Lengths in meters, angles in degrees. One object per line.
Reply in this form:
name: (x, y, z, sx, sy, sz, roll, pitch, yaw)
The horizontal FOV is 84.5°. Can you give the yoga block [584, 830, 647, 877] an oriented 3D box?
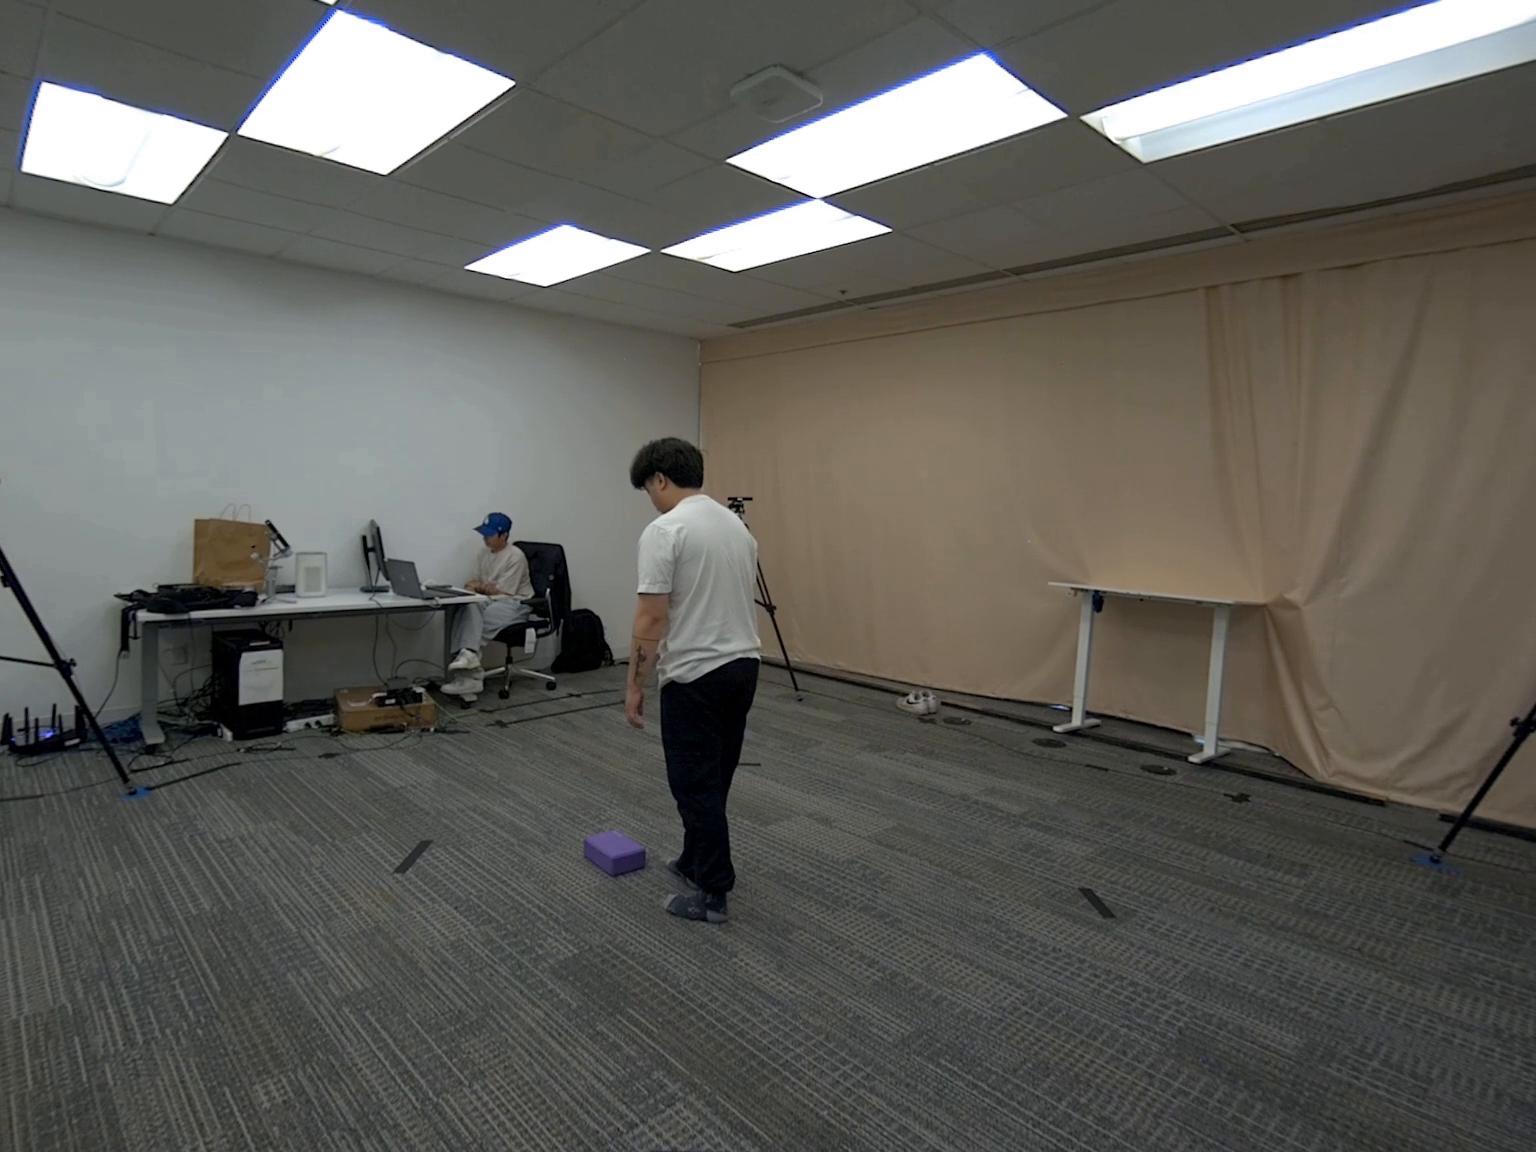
yoga block: (-0.590, 1.051, 3.200, 0.146, 0.076, 0.235, -3, 7, -40)
